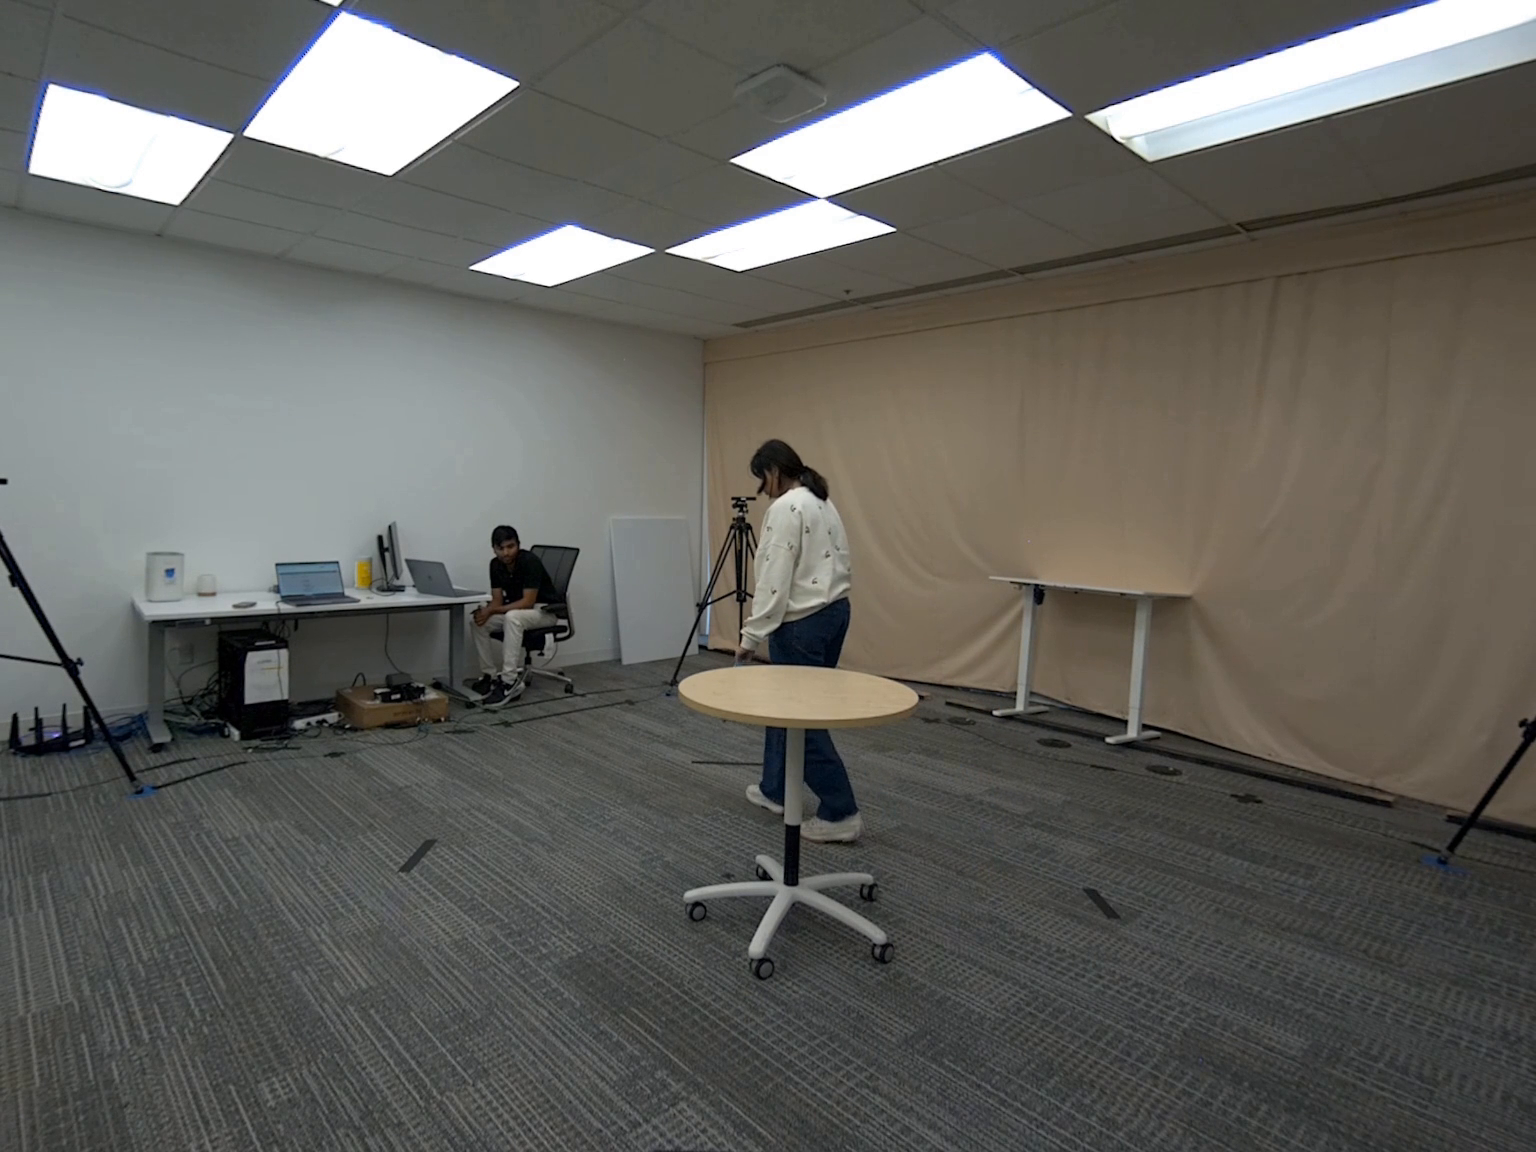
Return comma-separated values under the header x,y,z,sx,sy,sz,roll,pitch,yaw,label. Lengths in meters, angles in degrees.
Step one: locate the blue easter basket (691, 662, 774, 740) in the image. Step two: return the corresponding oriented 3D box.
x,y,z,sx,sy,sz,roll,pitch,yaw,label
-0.143,0.489,3.441,0.157,0.243,0.241,43,13,8,blue easter basket
